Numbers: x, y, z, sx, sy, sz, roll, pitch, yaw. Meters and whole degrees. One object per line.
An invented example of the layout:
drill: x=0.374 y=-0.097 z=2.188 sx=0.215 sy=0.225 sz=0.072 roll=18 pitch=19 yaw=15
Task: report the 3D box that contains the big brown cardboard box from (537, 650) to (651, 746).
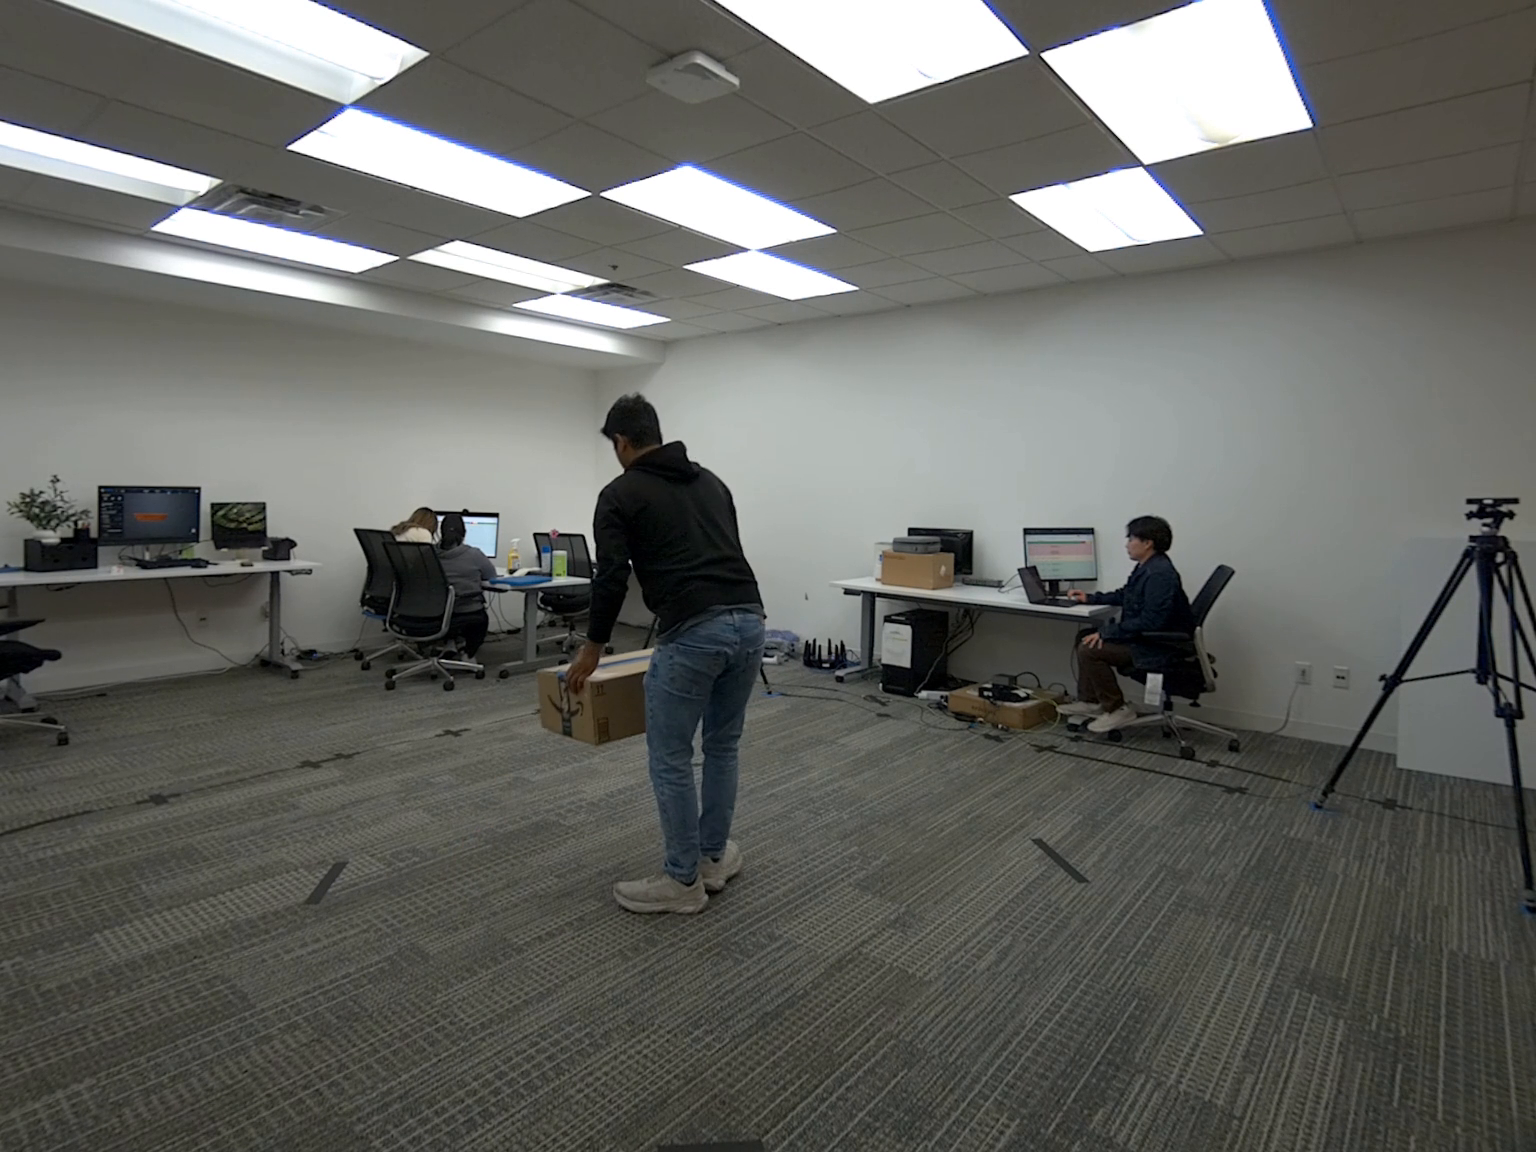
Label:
big brown cardboard box: x=-0.512 y=0.436 z=3.136 sx=0.572 sy=0.233 sz=0.430 roll=-7 pitch=4 yaw=-39
